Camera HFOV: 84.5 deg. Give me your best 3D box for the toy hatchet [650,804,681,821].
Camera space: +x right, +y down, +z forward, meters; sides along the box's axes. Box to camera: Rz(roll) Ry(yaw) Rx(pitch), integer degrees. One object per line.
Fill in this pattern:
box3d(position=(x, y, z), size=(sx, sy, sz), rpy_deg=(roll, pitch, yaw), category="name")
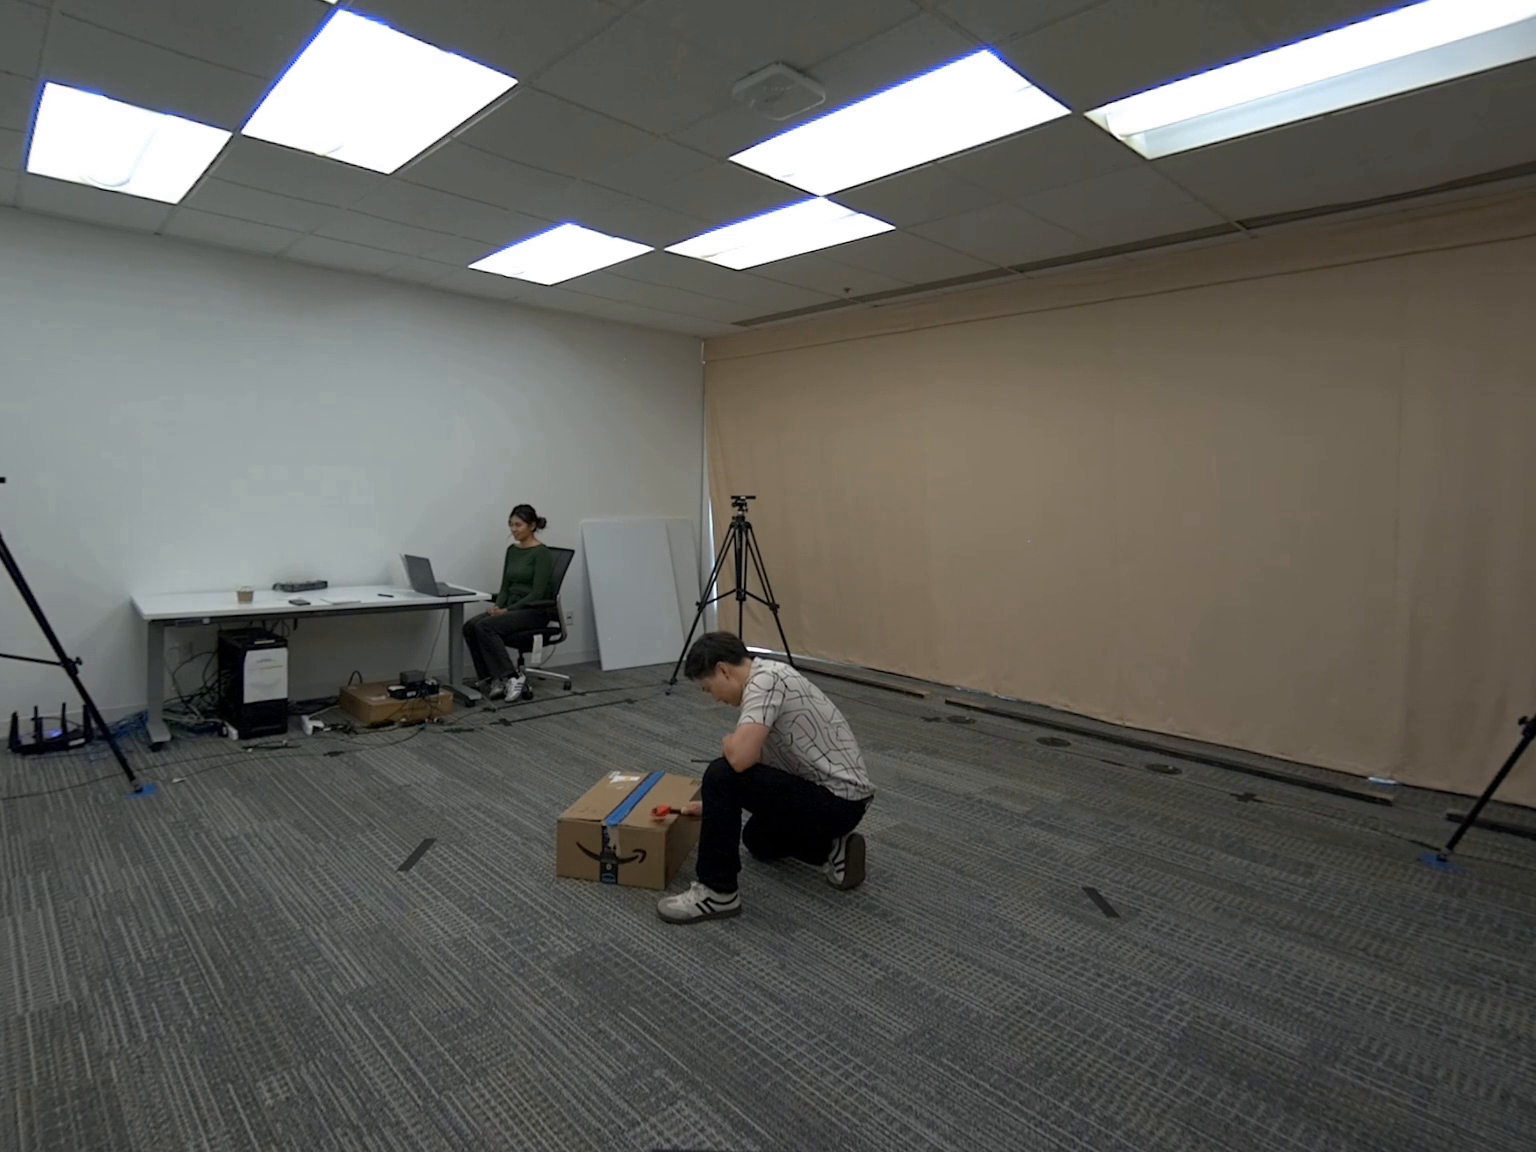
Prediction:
box3d(position=(-0.326, 0.876, 3.084), size=(0.132, 0.030, 0.261), rpy_deg=(-25, -35, 26), category="toy hatchet")
